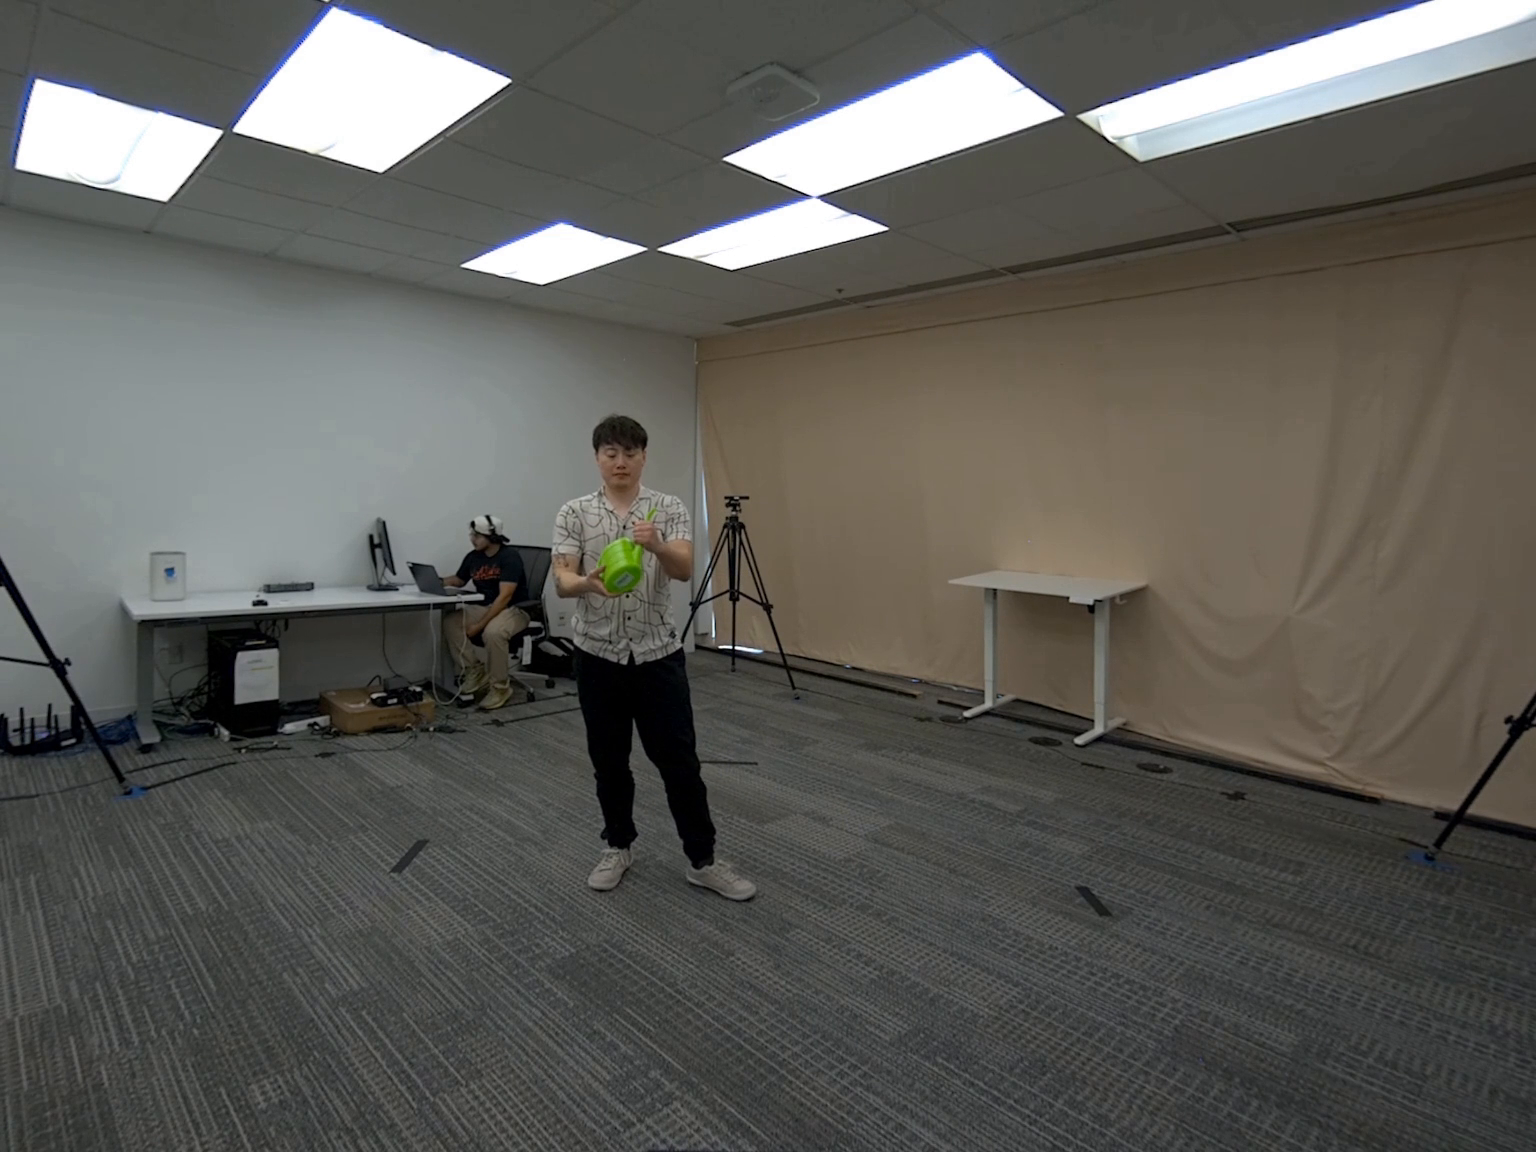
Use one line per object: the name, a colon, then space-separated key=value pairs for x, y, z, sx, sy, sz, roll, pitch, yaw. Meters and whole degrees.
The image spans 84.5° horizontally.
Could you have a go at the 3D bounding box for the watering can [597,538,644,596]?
watering can: x=-0.454 y=-0.069 z=2.609 sx=0.095 sy=0.277 sz=0.182 roll=18 pitch=28 yaw=-34
